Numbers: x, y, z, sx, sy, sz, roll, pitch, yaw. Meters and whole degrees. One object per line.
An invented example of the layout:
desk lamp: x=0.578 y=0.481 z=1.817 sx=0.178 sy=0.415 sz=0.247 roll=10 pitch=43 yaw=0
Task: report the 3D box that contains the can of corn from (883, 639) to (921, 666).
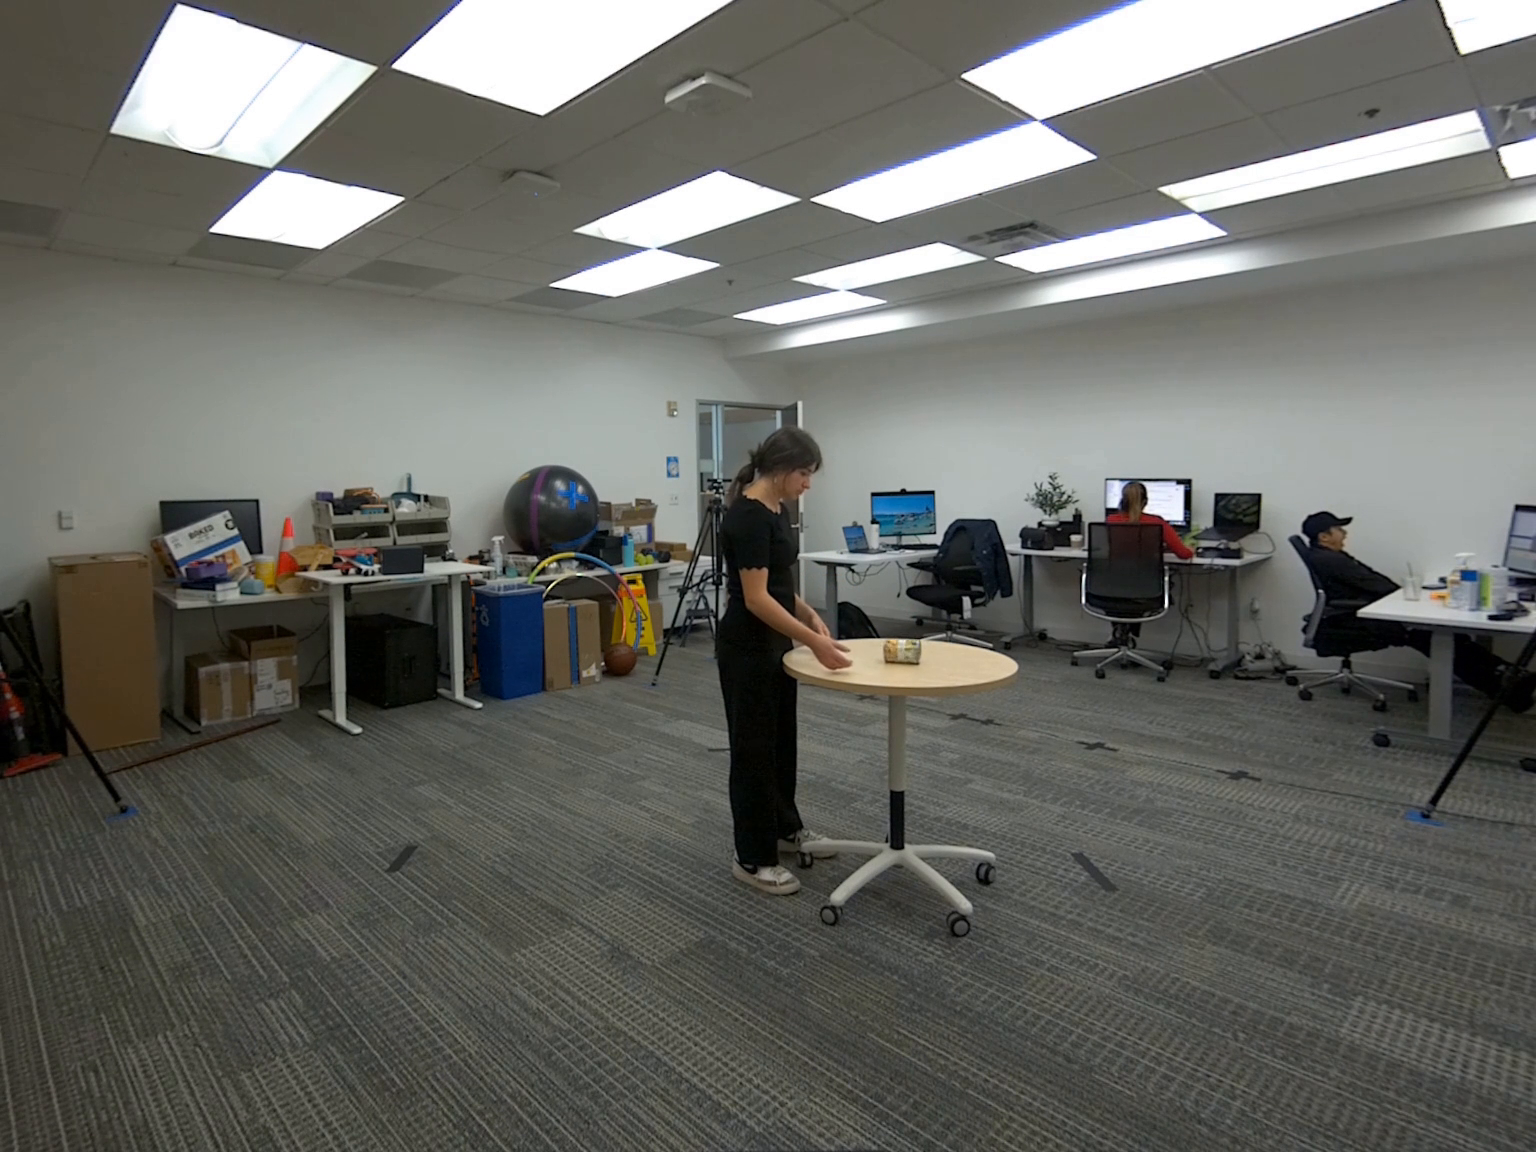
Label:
can of corn: x=0.443 y=0.244 z=2.808 sx=0.113 sy=0.074 sz=0.073 roll=1 pitch=5 yaw=19
